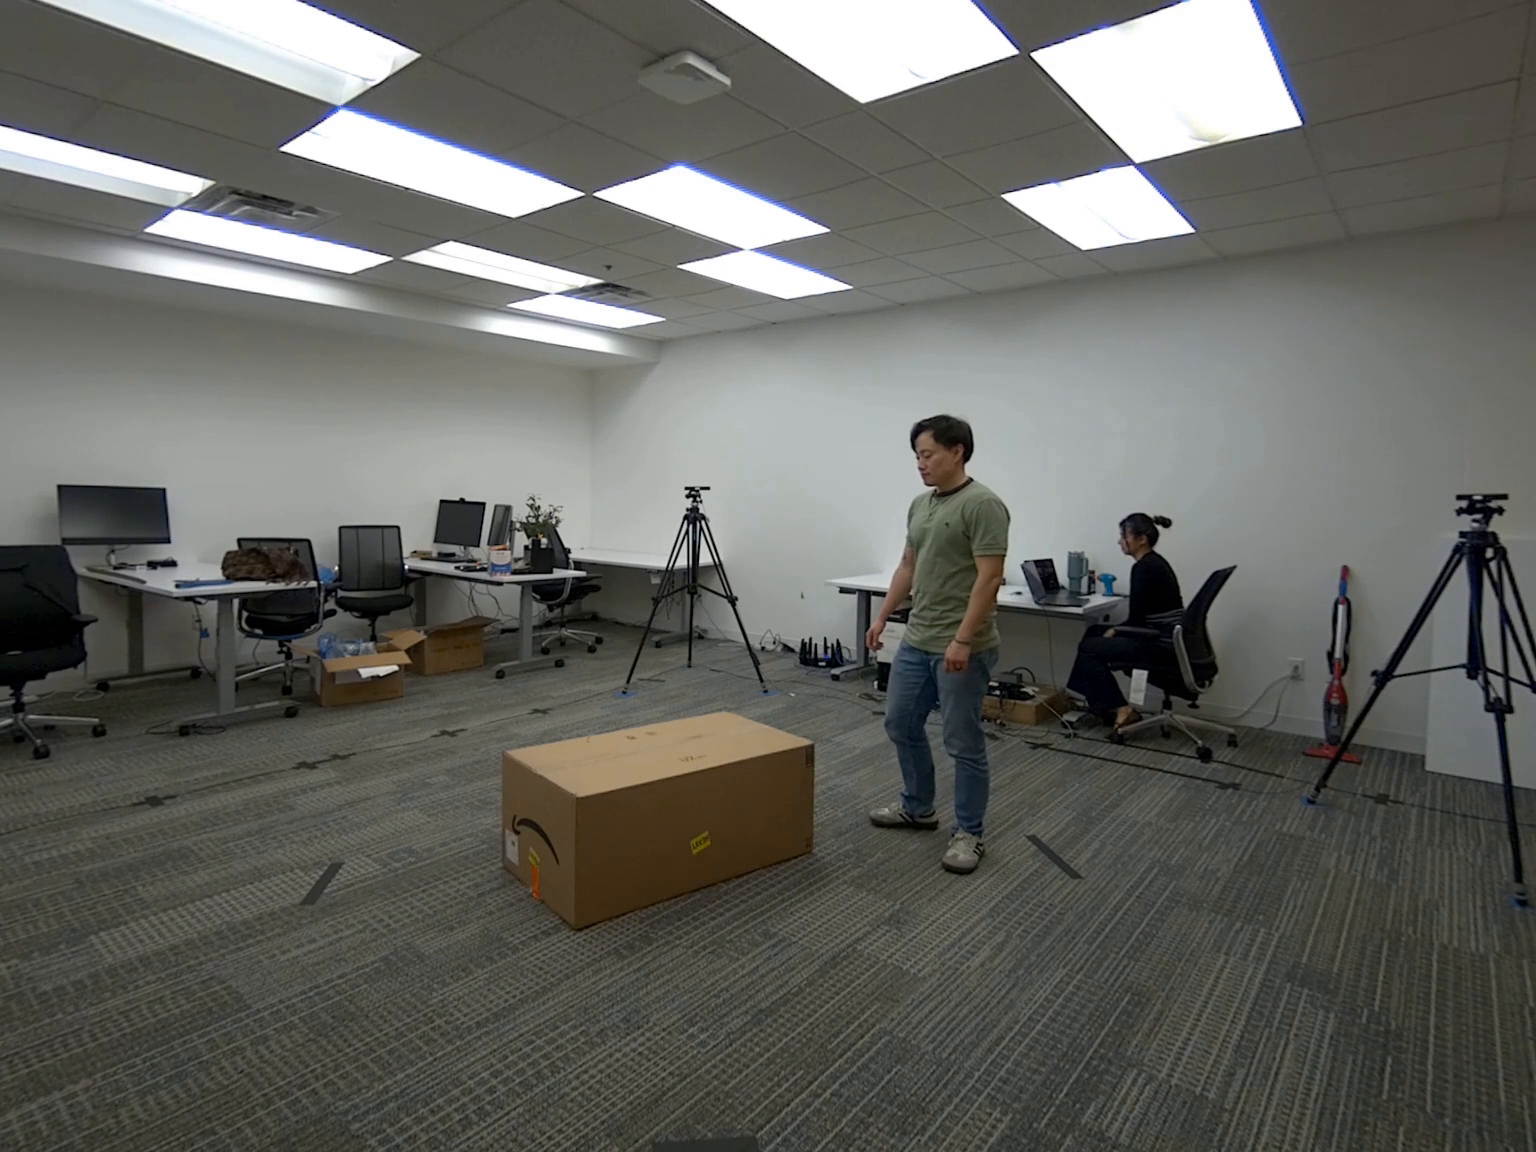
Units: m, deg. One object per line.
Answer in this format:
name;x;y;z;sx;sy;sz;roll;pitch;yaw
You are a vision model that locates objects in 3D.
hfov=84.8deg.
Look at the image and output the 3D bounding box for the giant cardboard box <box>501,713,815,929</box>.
giant cardboard box;-0.405;0.846;3.168;0.996;0.425;0.597;-3;6;-39
